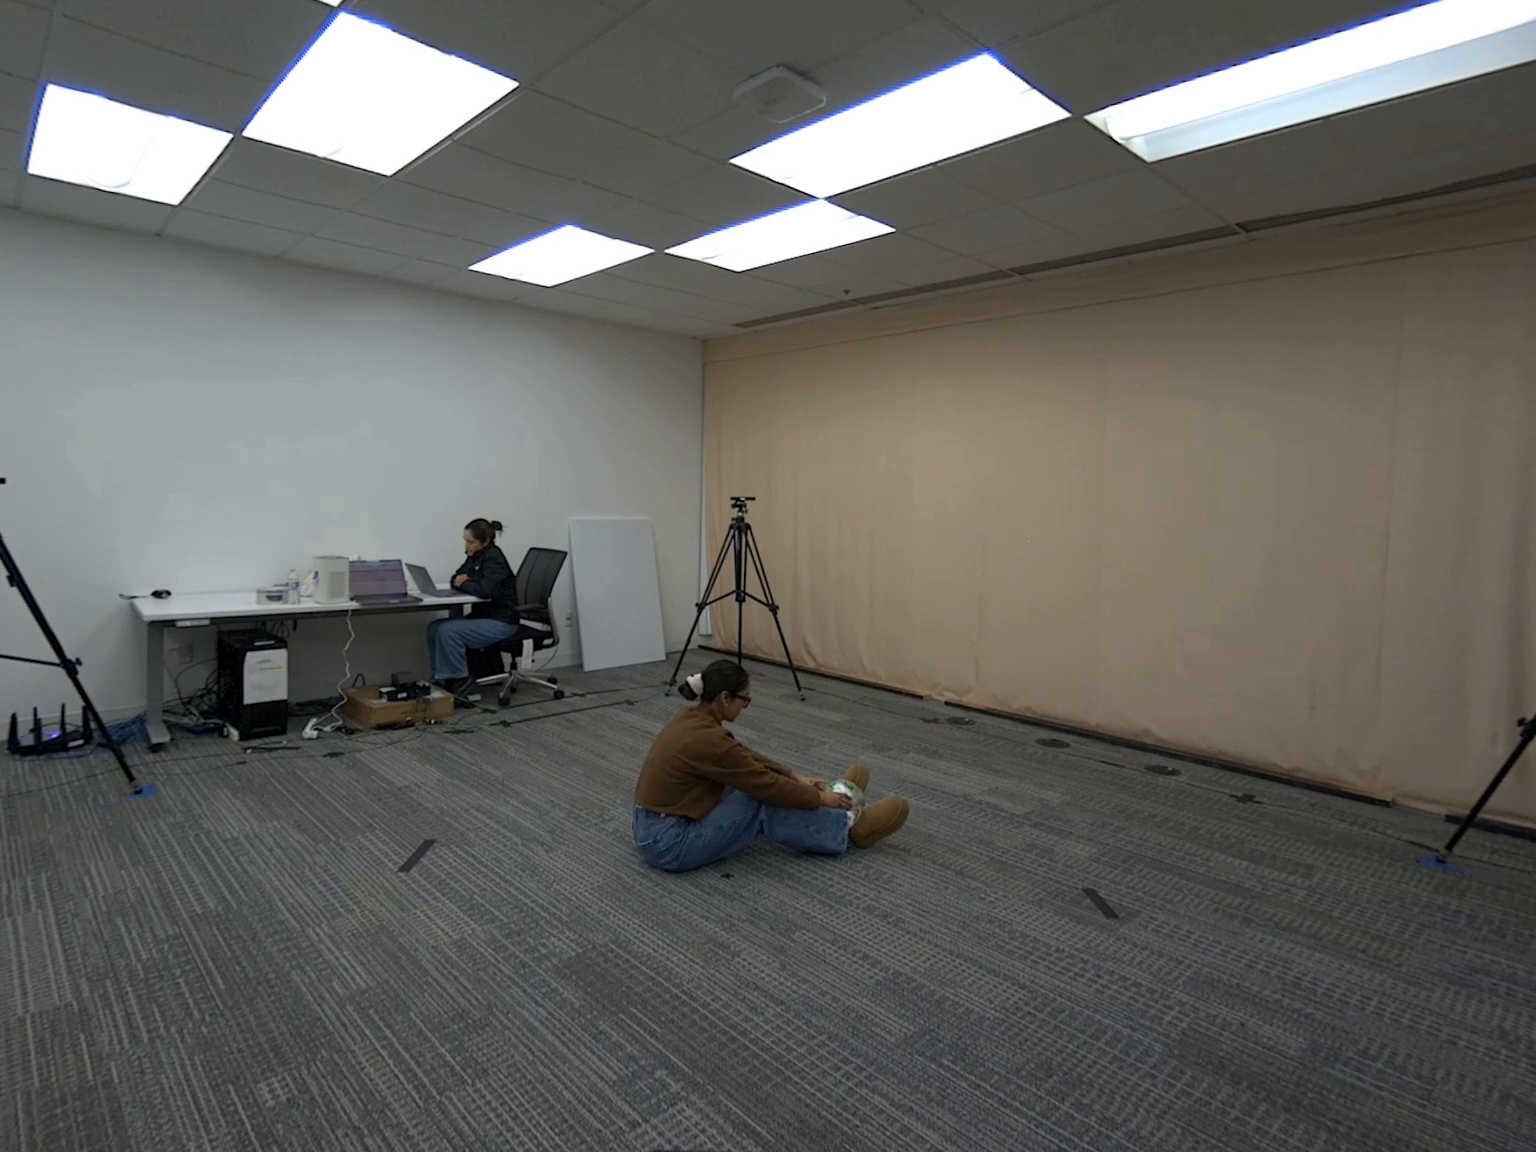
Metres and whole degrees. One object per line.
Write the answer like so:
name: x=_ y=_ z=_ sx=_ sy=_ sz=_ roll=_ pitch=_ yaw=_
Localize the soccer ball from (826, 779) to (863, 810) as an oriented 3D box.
soccer ball: x=0.289 y=0.946 z=3.494 sx=0.187 sy=0.187 sz=0.188 roll=1 pitch=4 yaw=-1
